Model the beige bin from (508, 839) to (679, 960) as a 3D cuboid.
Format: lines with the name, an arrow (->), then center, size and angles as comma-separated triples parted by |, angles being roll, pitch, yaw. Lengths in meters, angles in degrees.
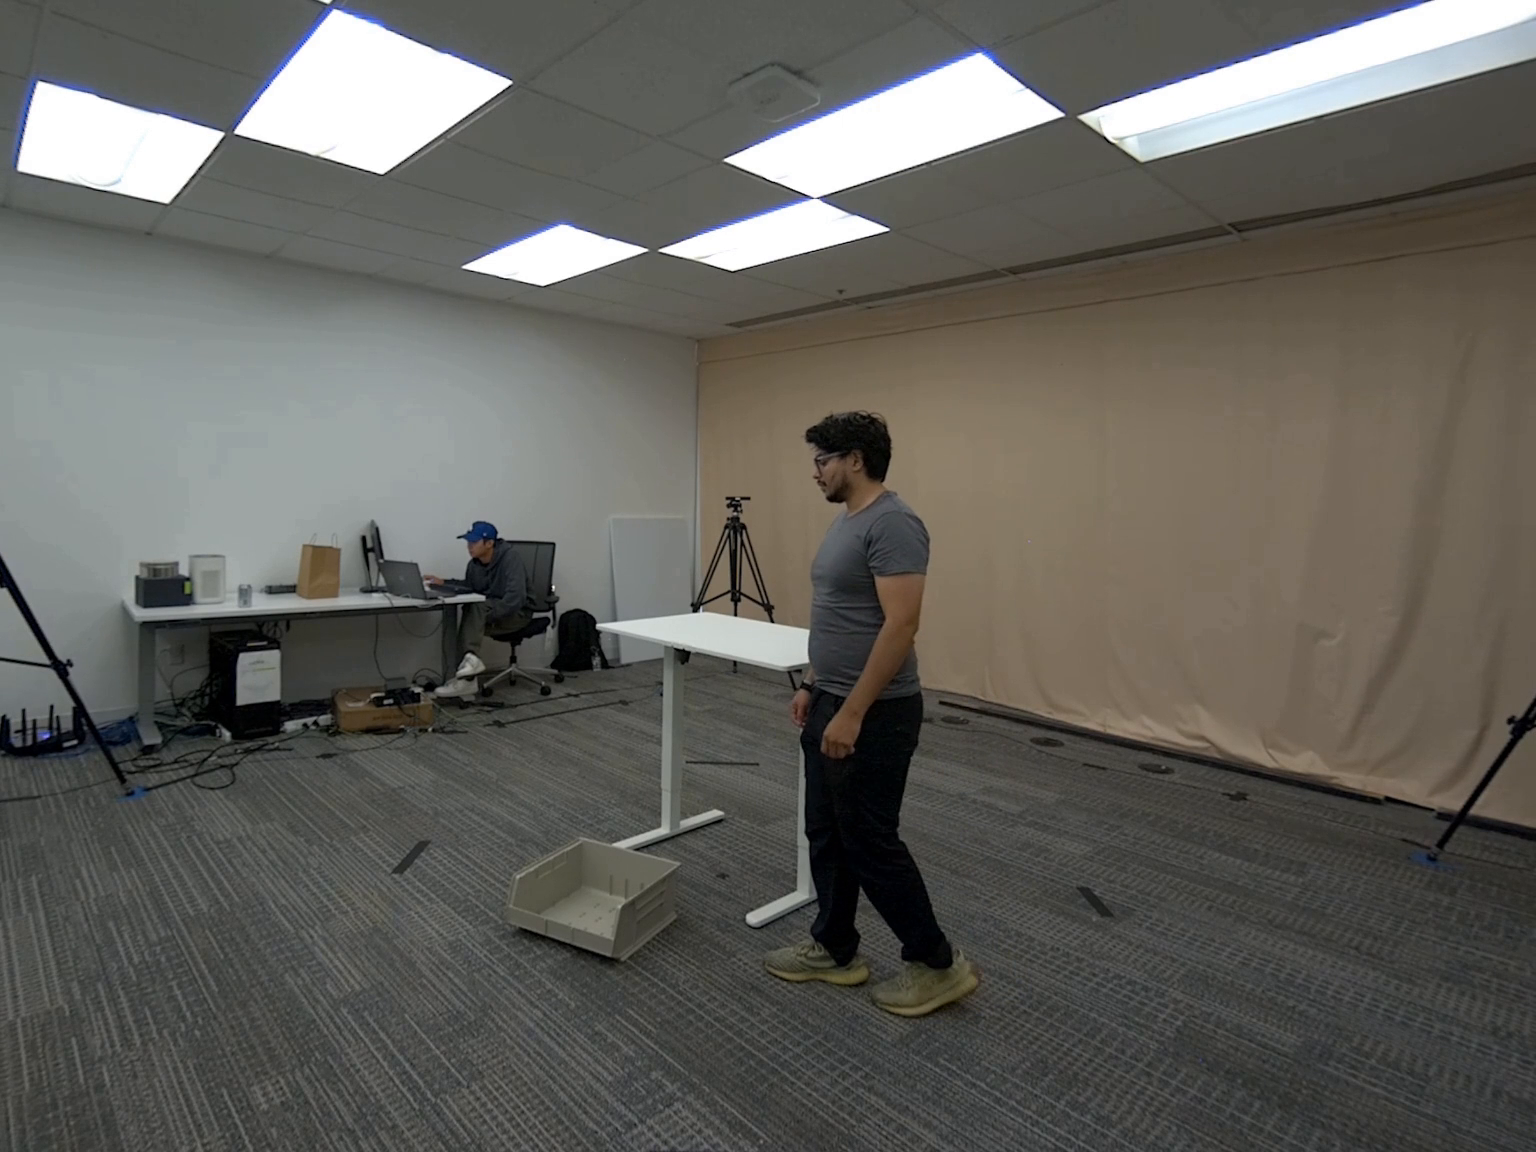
beige bin -> -0.561, 1.046, 2.721 | 0.431, 0.188, 0.371 | 4, 5, 26
